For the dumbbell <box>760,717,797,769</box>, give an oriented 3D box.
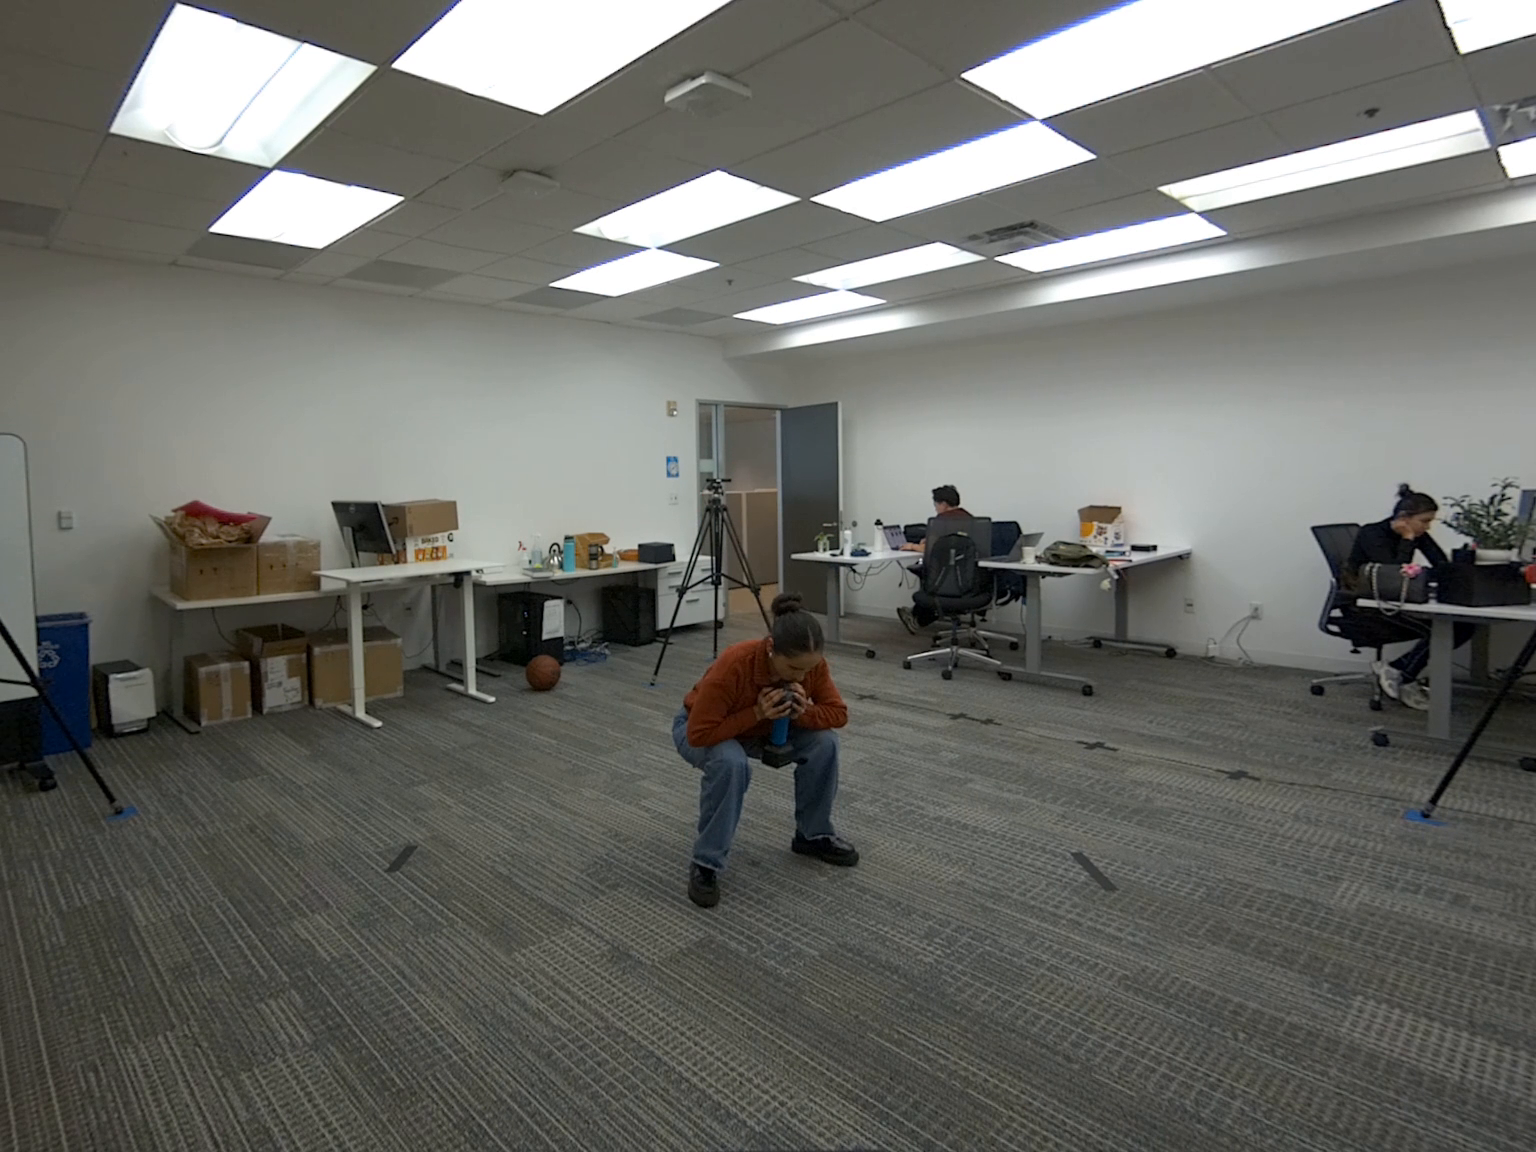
[{"bbox_3d":[0.019,0.501,2.938,0.121,0.287,0.113,-23,30,-31],"label":"dumbbell"}]
